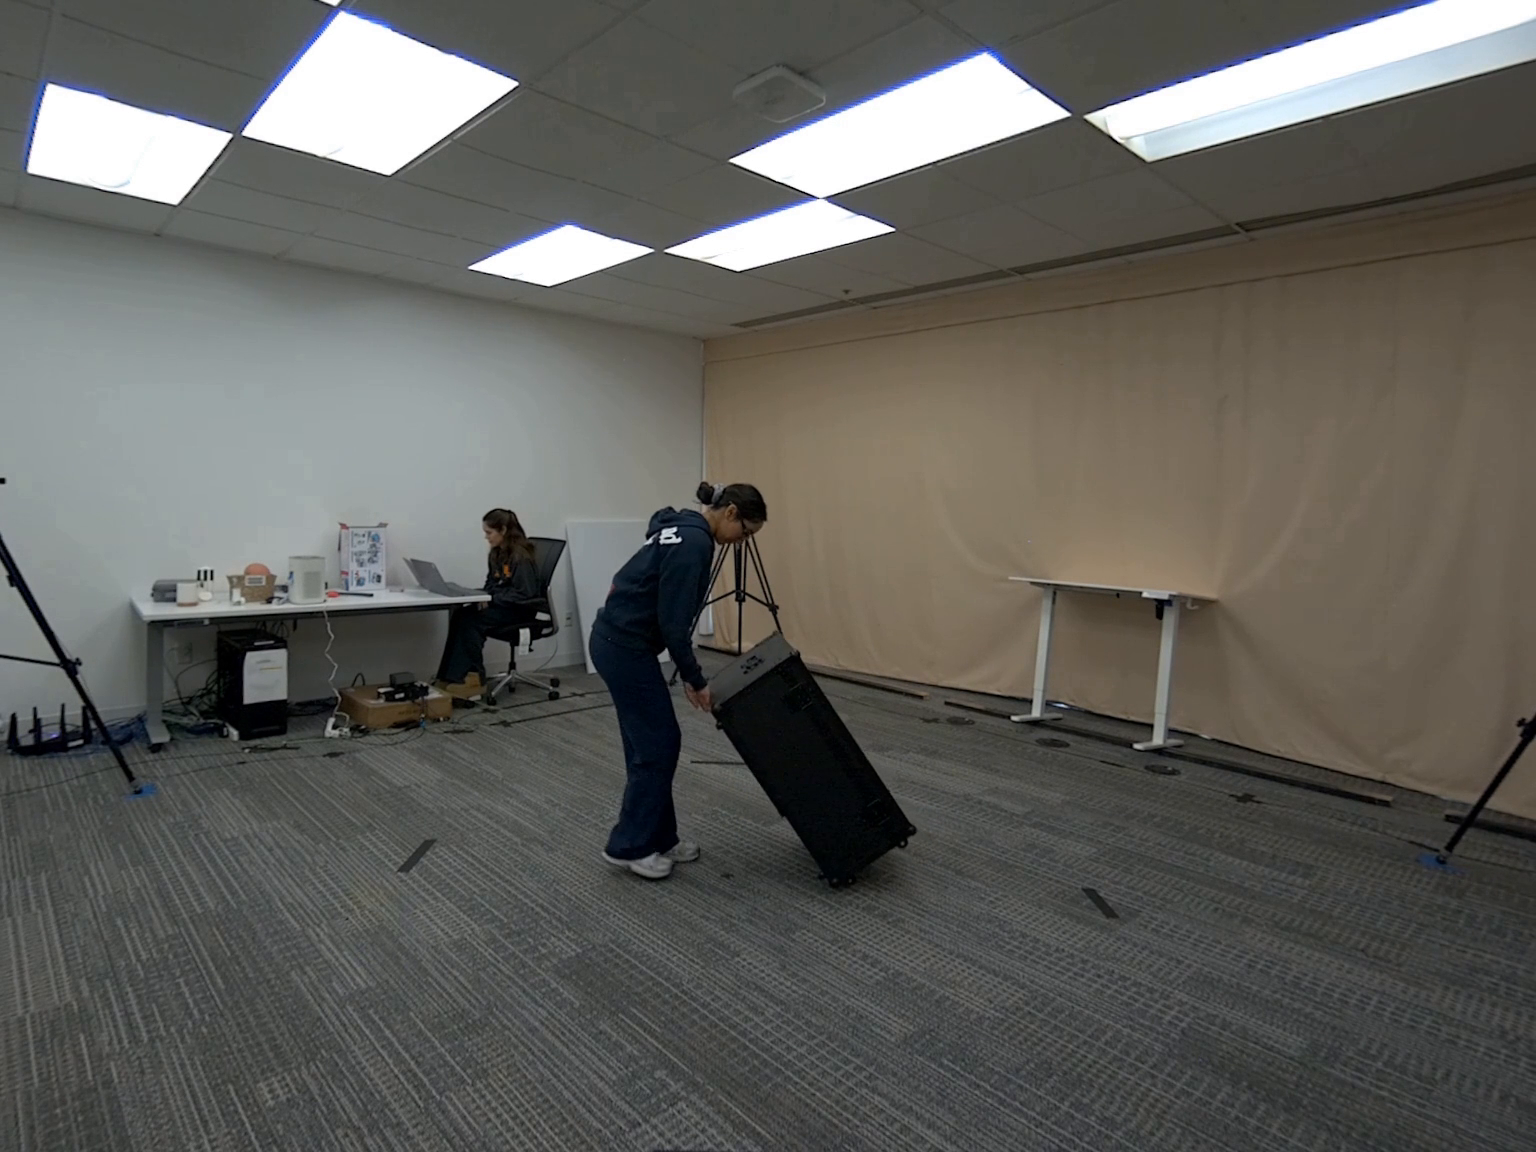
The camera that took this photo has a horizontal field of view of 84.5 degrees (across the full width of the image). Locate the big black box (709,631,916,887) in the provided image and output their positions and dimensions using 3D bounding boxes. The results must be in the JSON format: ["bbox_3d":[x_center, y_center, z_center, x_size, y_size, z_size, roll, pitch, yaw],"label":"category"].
[{"bbox_3d":[0.140,0.694,3.170,0.396,0.856,0.525,-35,6,-4],"label":"big black box"}]
